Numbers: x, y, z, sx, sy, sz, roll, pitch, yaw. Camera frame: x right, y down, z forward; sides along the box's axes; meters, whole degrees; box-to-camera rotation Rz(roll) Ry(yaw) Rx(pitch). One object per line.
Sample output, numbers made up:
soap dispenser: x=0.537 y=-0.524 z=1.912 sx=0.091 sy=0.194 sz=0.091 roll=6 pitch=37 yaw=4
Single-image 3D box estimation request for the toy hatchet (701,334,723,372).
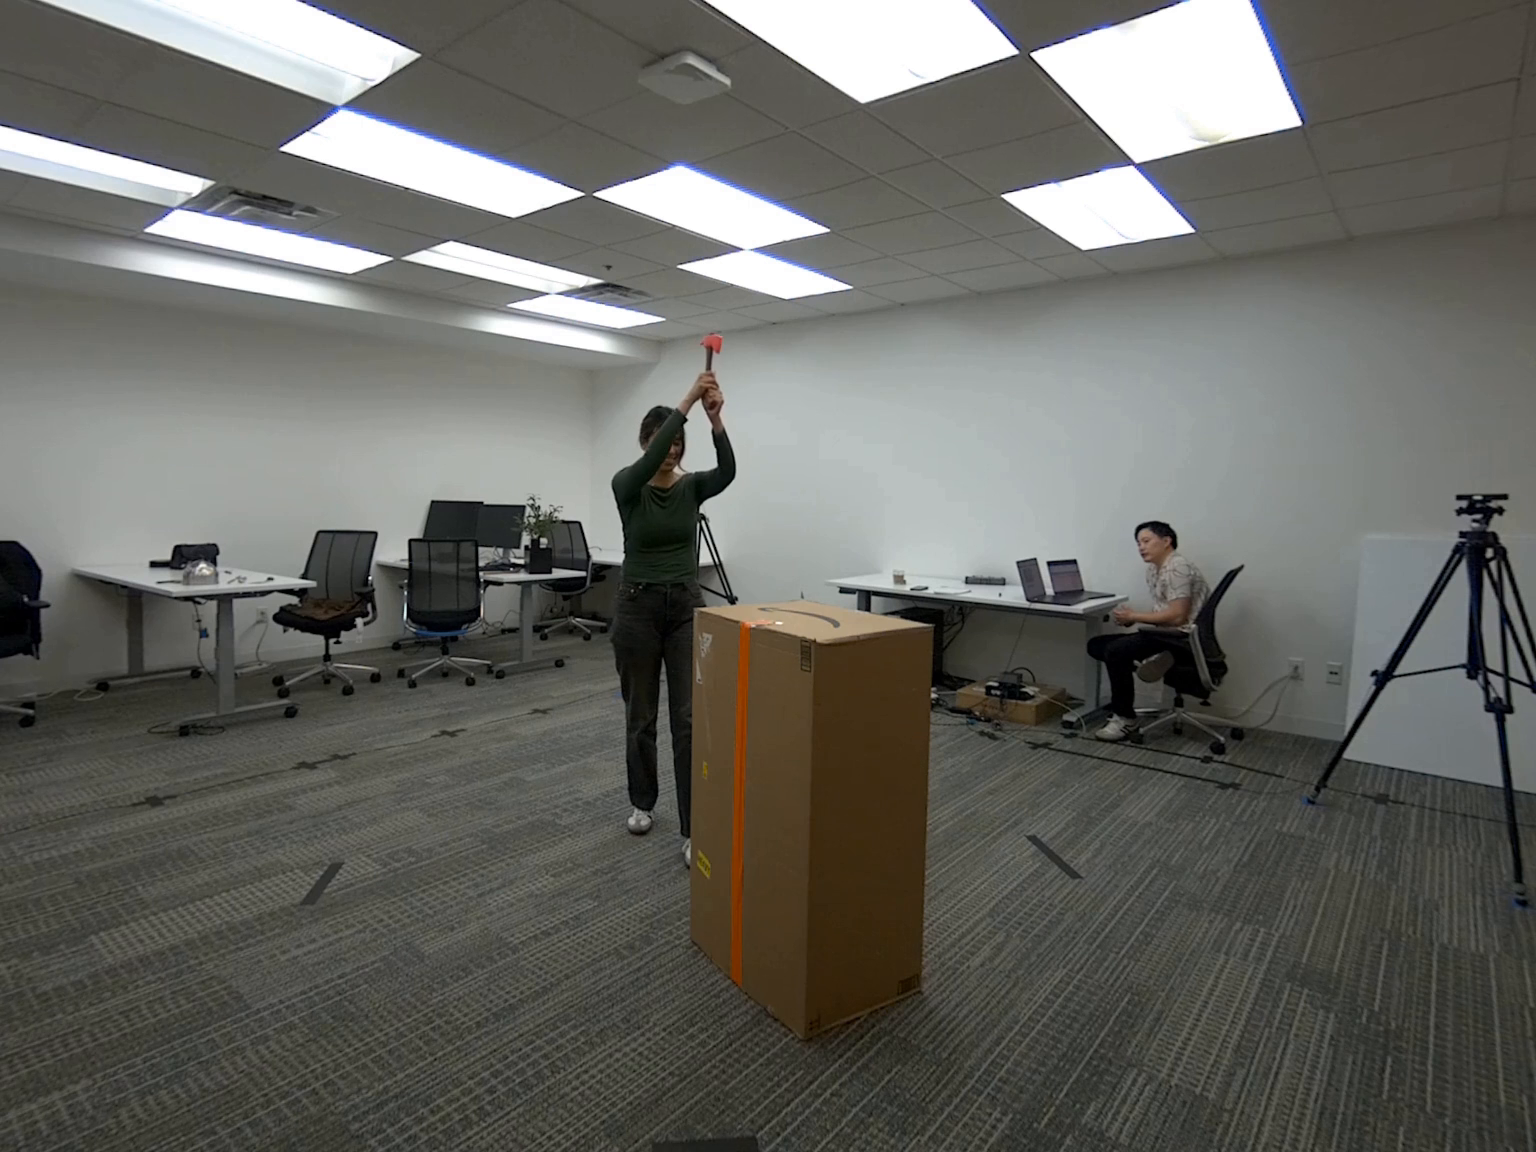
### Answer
toy hatchet: x=-0.198 y=-0.721 z=2.982 sx=0.028 sy=0.274 sz=0.133 roll=5 pitch=-18 yaw=-37
